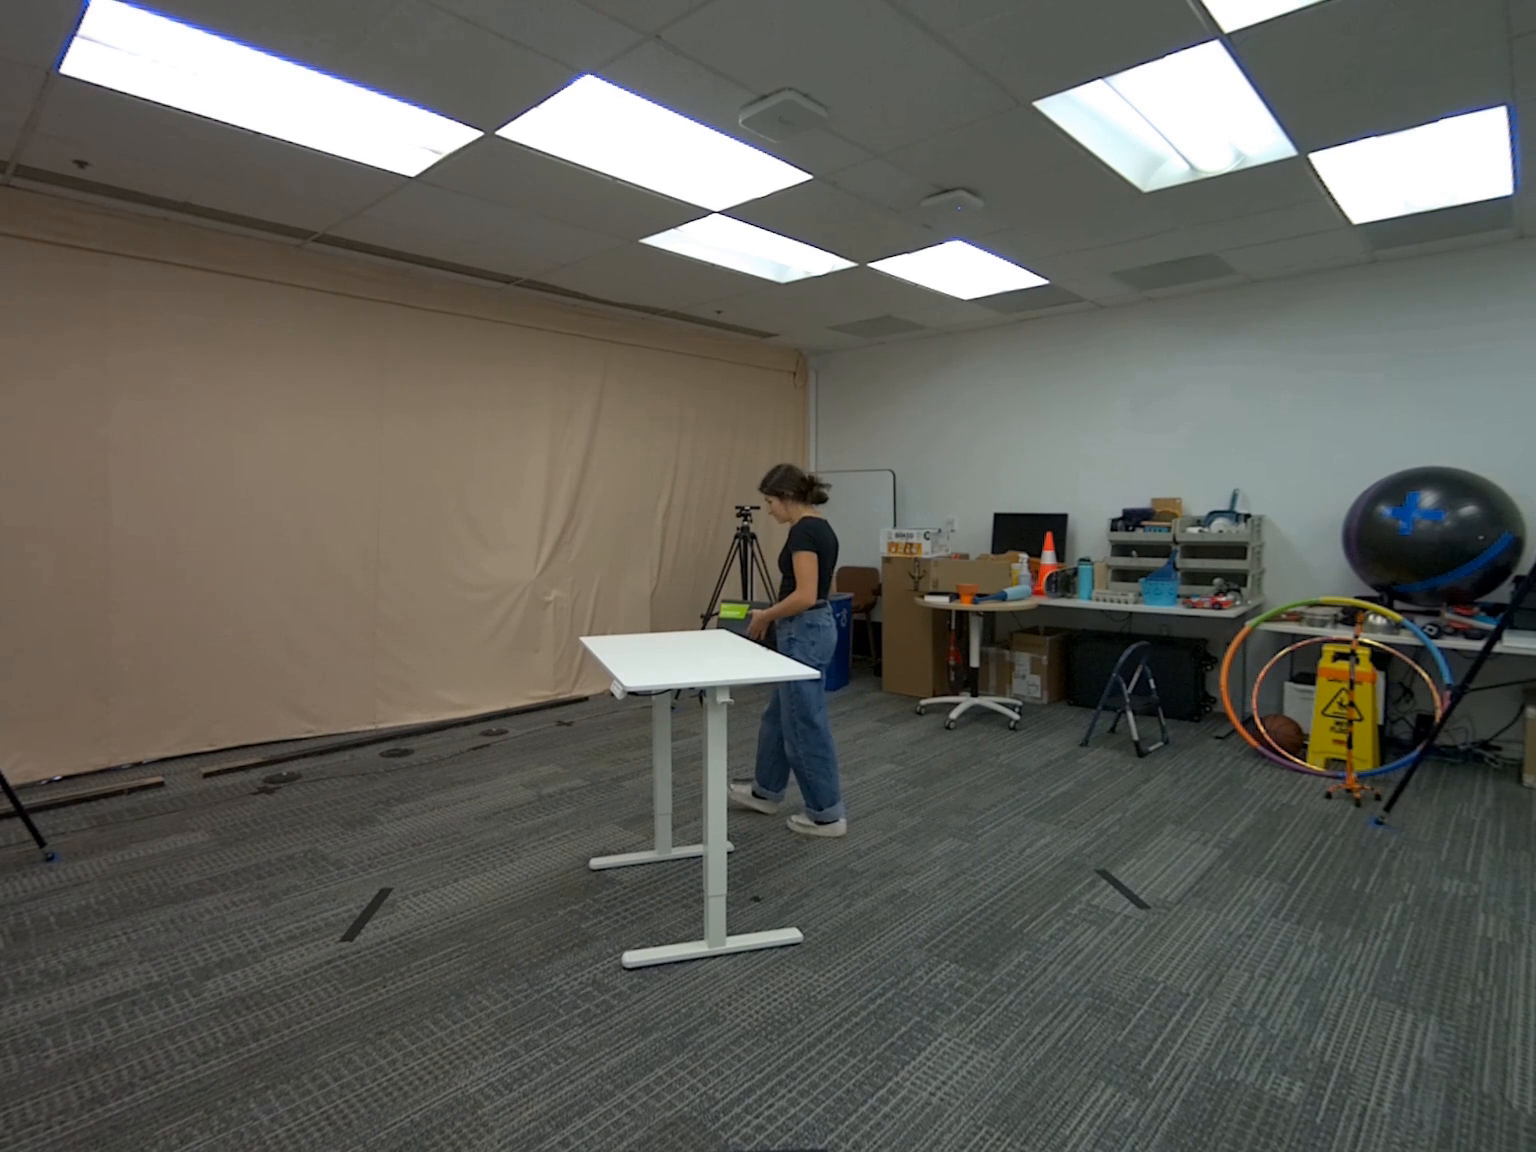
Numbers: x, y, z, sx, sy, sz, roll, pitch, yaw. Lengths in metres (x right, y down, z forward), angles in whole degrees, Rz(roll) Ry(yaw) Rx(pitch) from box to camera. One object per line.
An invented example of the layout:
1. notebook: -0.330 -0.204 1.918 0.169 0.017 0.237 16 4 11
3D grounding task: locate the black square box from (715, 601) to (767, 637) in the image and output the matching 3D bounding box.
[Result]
1. black square box: -0.097 0.213 3.724 0.231 0.157 0.212 4 -21 10
